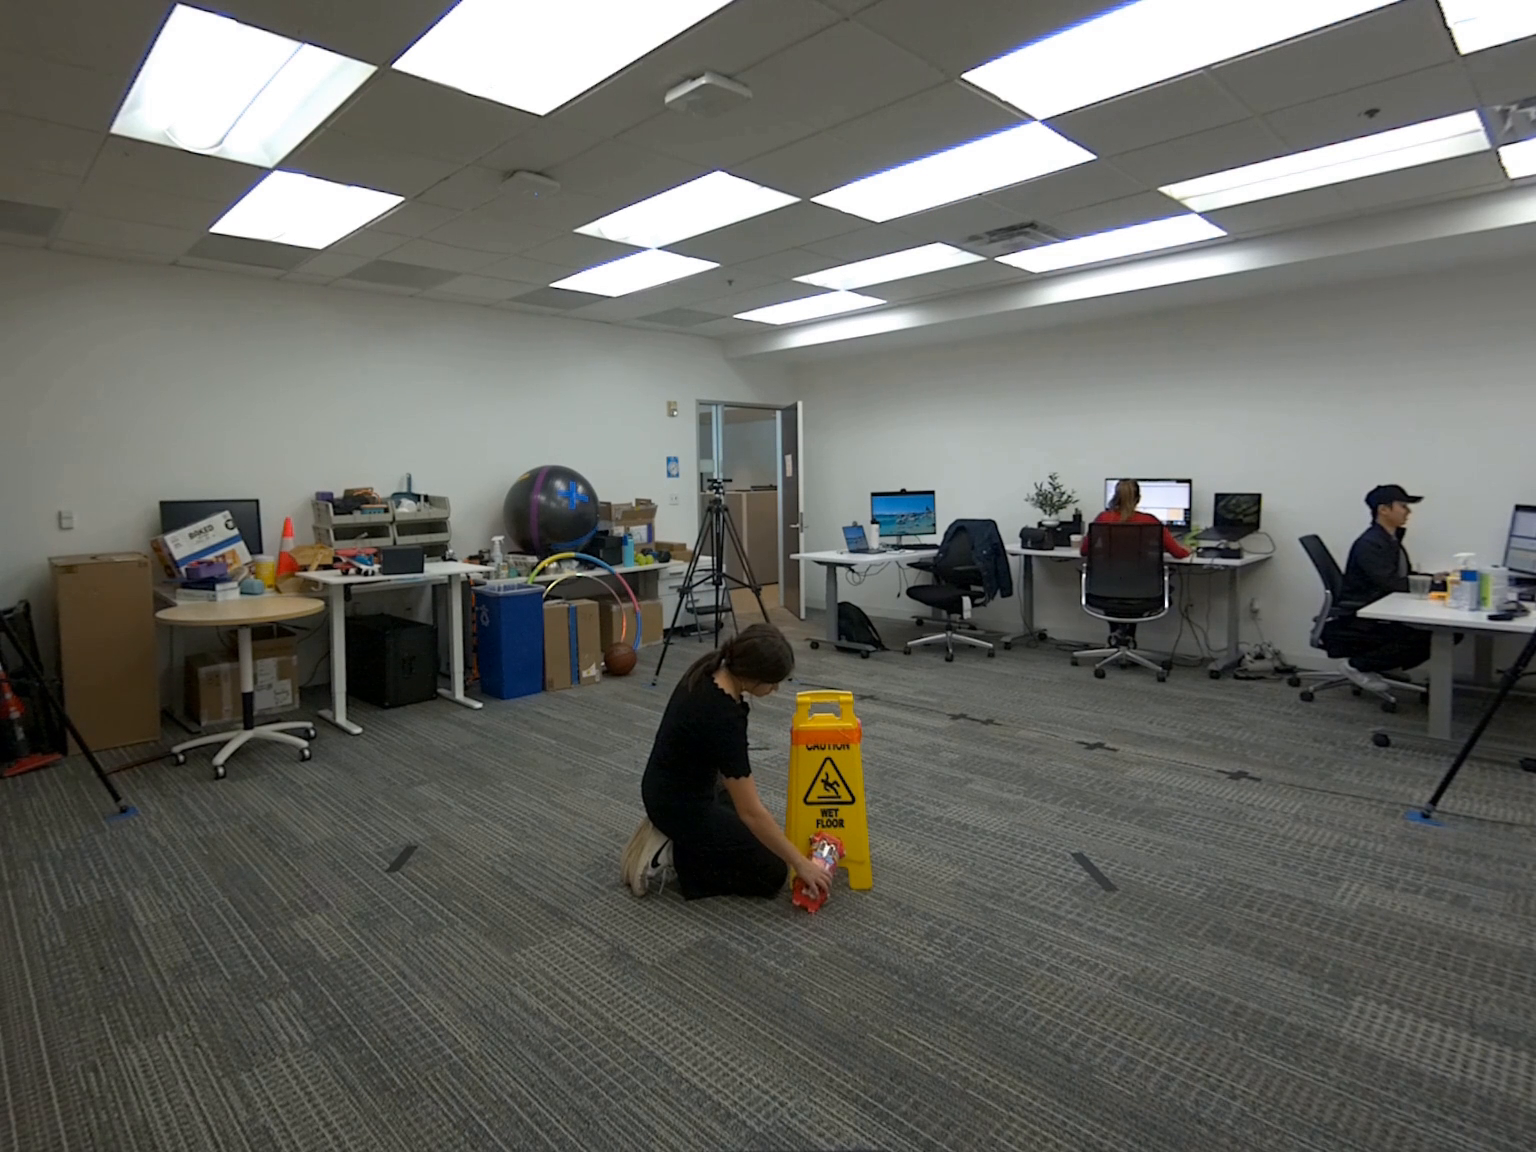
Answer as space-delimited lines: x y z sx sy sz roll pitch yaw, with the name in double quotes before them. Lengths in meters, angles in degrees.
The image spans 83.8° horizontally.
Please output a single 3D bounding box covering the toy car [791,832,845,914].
"toy car" 0.153 0.975 2.820 0.132 0.257 0.081 23 -37 8
